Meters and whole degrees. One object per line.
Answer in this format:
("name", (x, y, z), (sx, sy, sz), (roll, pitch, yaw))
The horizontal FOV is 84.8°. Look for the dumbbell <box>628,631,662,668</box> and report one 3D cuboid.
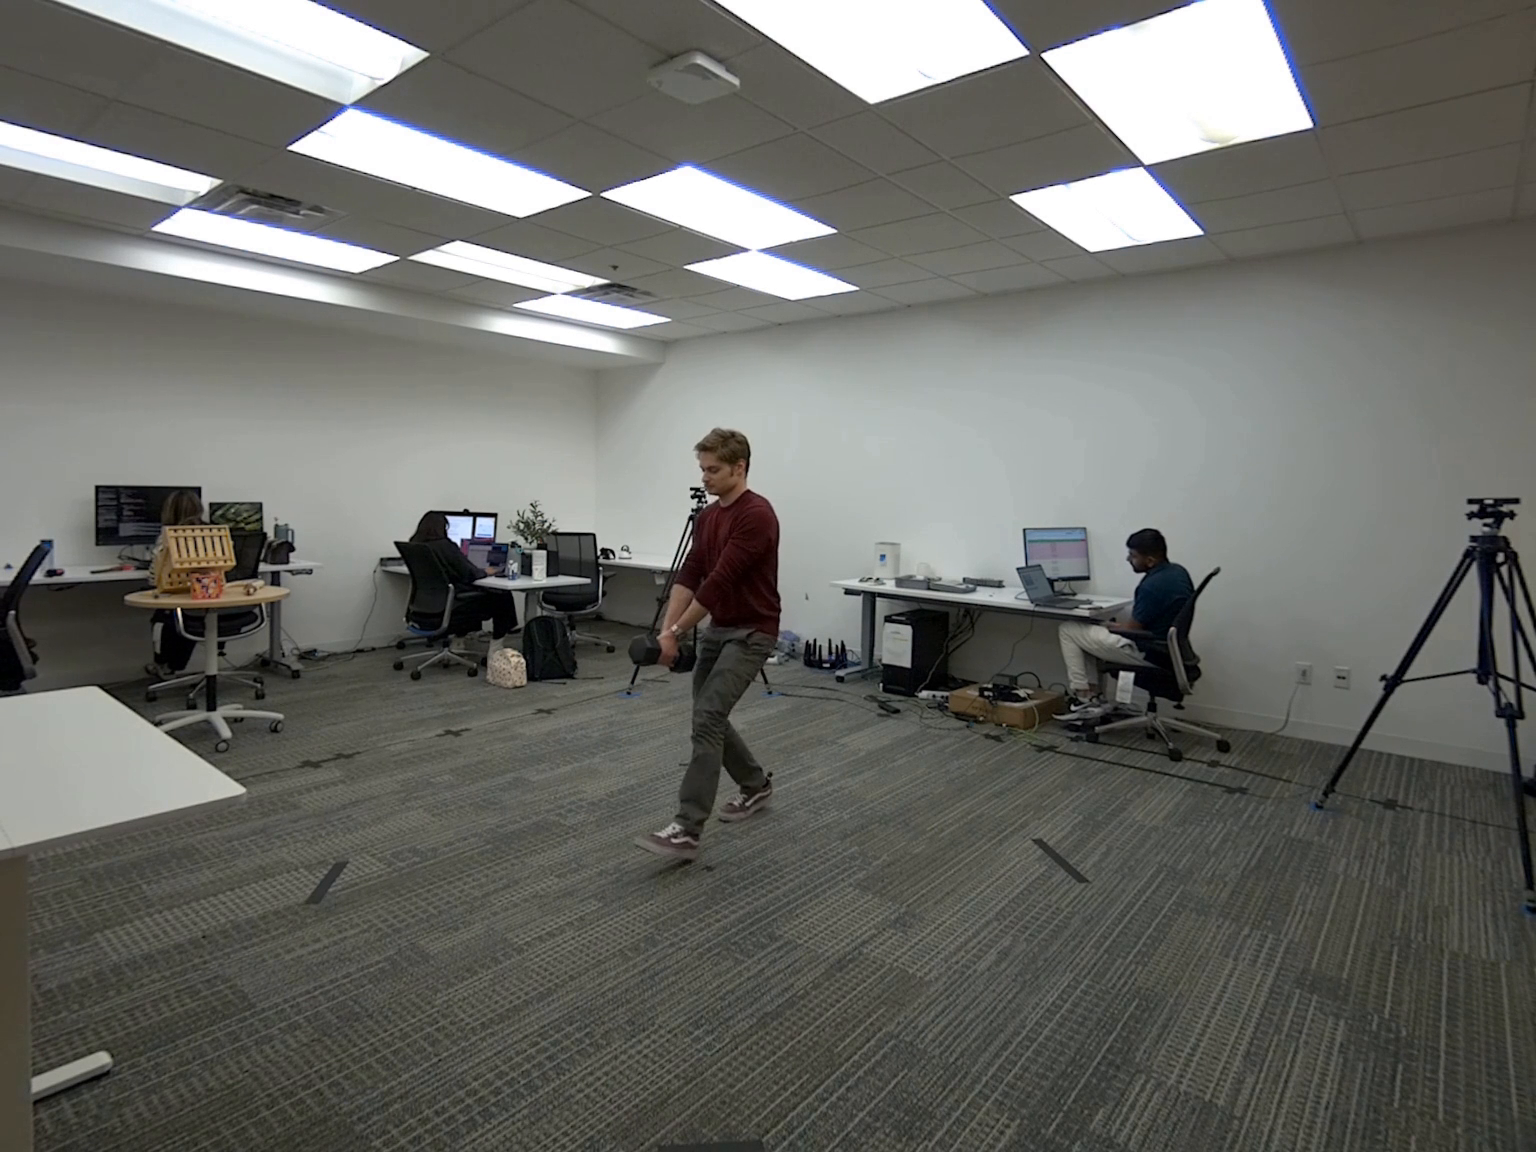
("dumbbell", (-0.419, 0.315, 3.291), (0.282, 0.109, 0.128), (21, 29, -51))
